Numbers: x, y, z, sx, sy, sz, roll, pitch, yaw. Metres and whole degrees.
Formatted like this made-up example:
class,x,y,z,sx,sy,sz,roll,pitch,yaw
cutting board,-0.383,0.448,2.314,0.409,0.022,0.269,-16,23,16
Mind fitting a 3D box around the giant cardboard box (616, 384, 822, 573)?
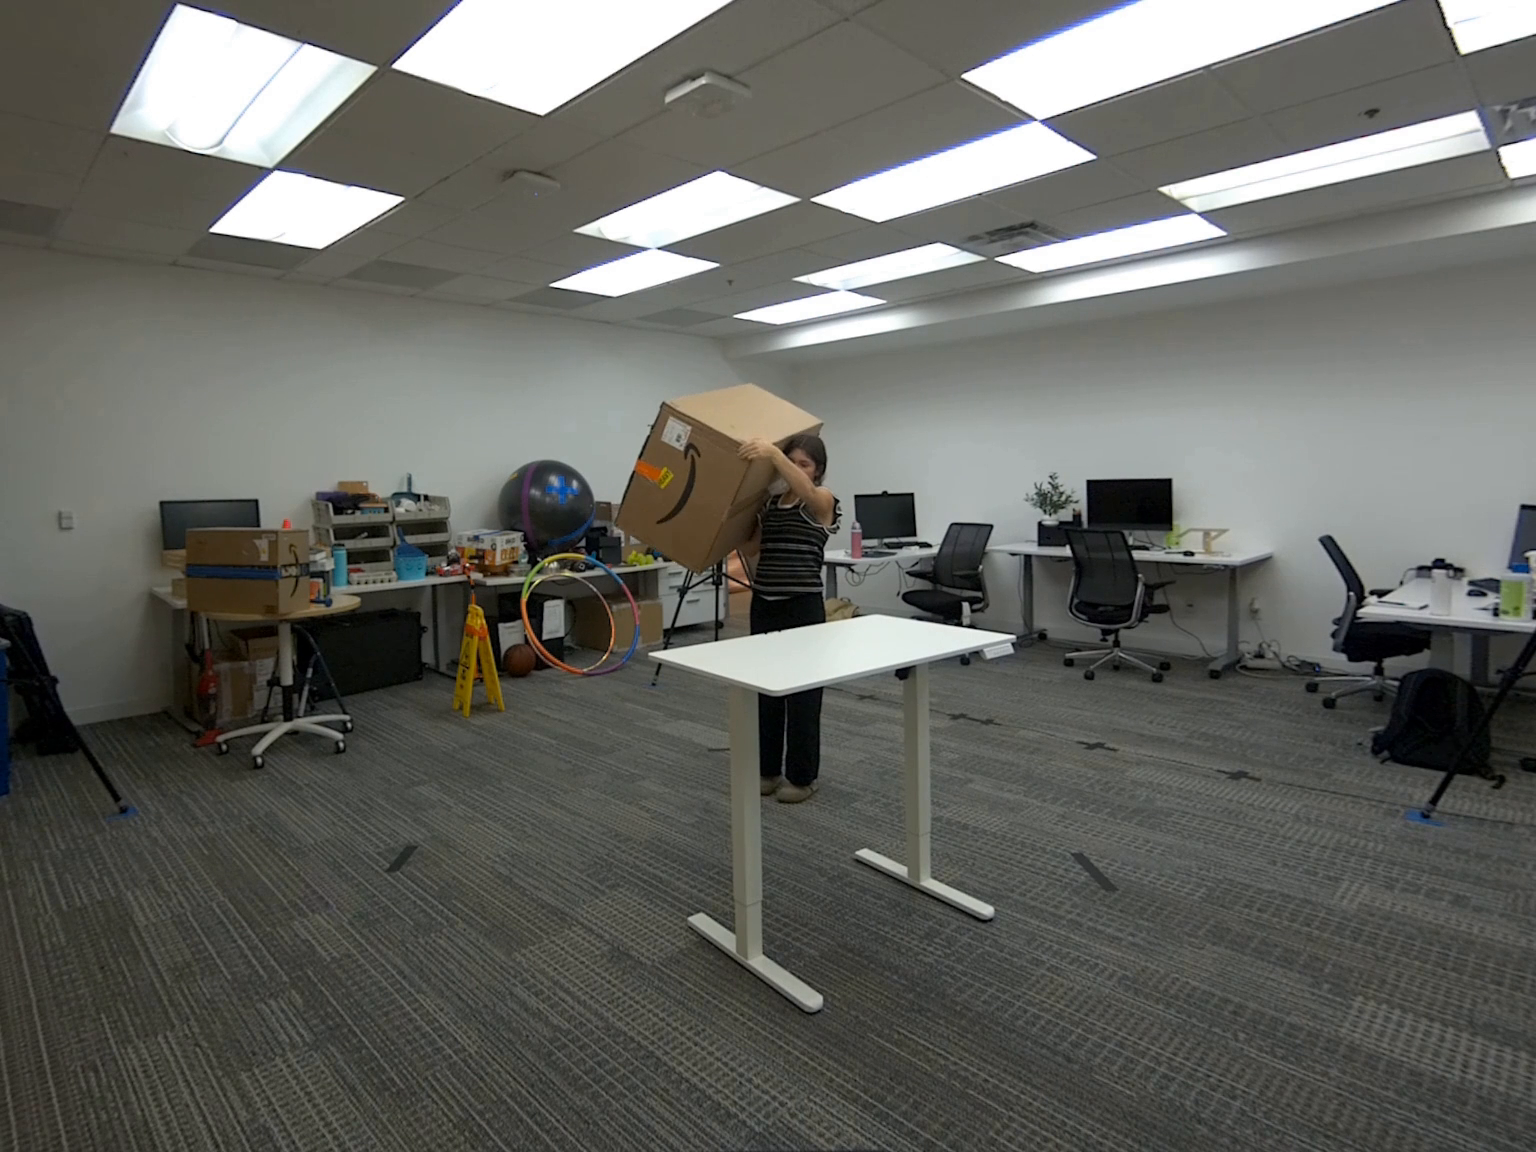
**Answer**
class,x,y,z,sx,sy,sz,roll,pitch,yaw
giant cardboard box,-0.189,-0.476,3.828,0.433,0.572,1.019,29,23,10
